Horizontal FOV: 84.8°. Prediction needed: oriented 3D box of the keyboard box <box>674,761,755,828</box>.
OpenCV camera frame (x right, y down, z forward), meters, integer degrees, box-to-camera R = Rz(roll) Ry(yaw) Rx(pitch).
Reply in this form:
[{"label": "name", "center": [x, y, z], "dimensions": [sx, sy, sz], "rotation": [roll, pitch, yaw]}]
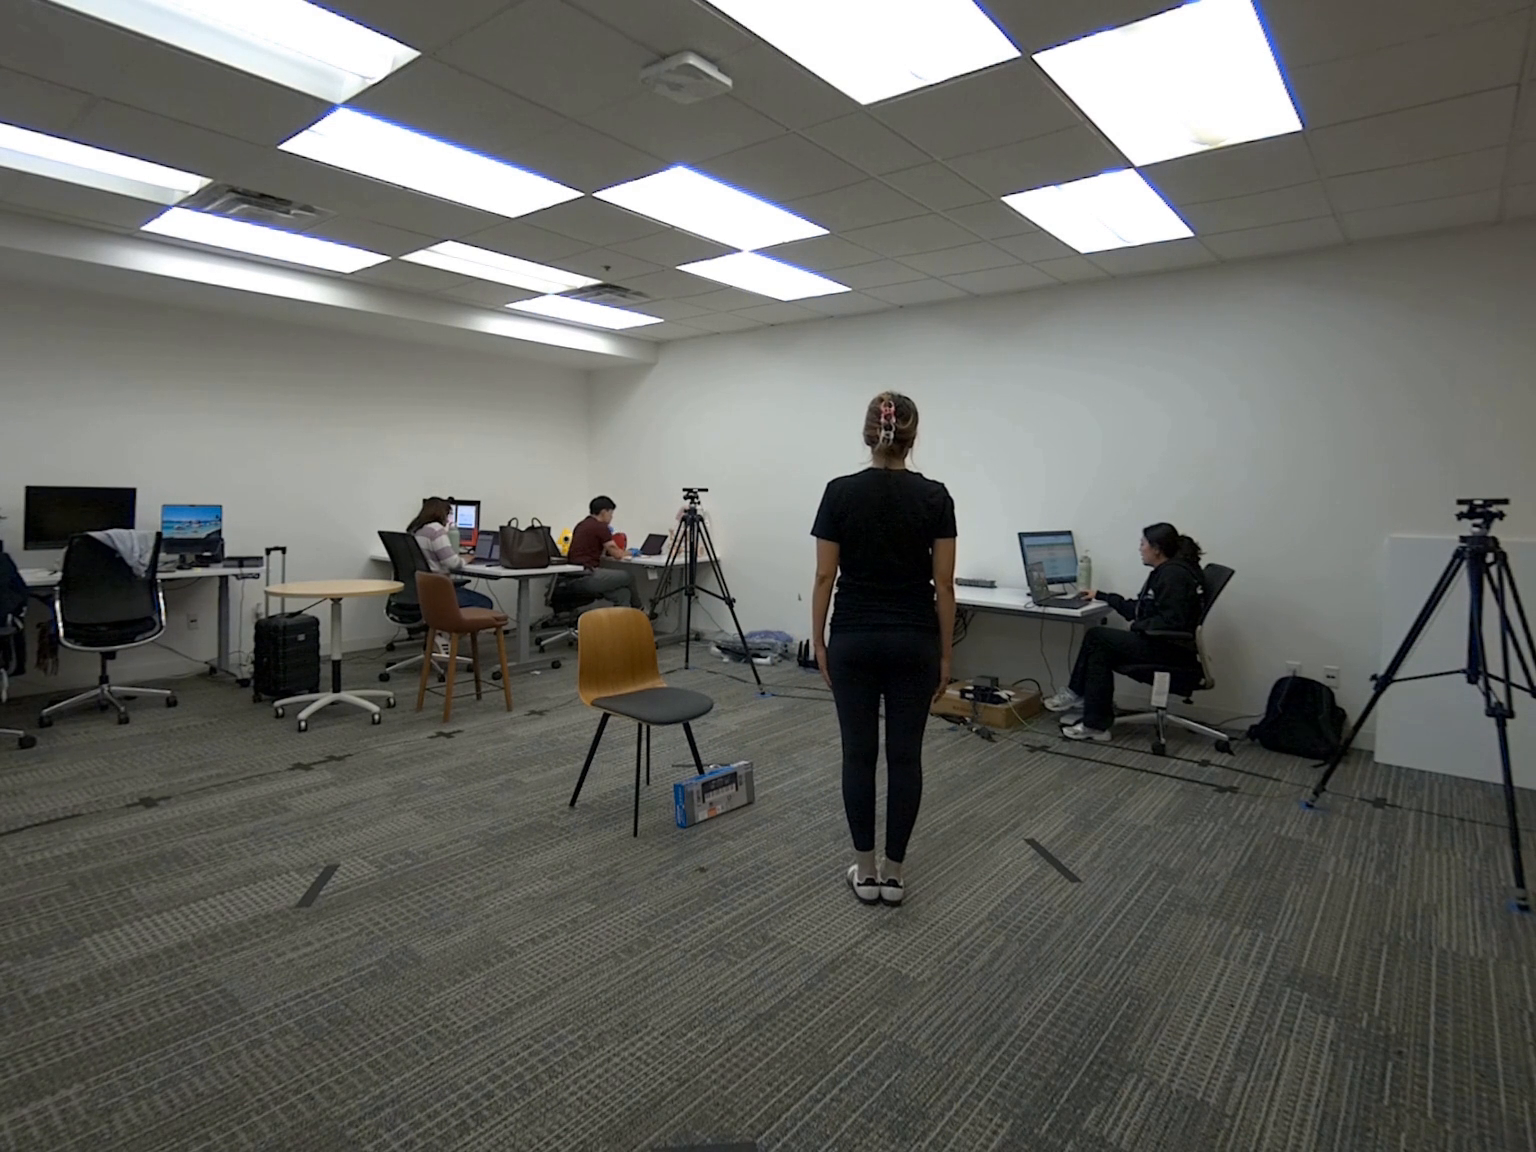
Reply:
[{"label": "keyboard box", "center": [-0.232, 0.929, 3.656], "dimensions": [0.061, 0.176, 0.424], "rotation": [-5, 0, 42]}]
